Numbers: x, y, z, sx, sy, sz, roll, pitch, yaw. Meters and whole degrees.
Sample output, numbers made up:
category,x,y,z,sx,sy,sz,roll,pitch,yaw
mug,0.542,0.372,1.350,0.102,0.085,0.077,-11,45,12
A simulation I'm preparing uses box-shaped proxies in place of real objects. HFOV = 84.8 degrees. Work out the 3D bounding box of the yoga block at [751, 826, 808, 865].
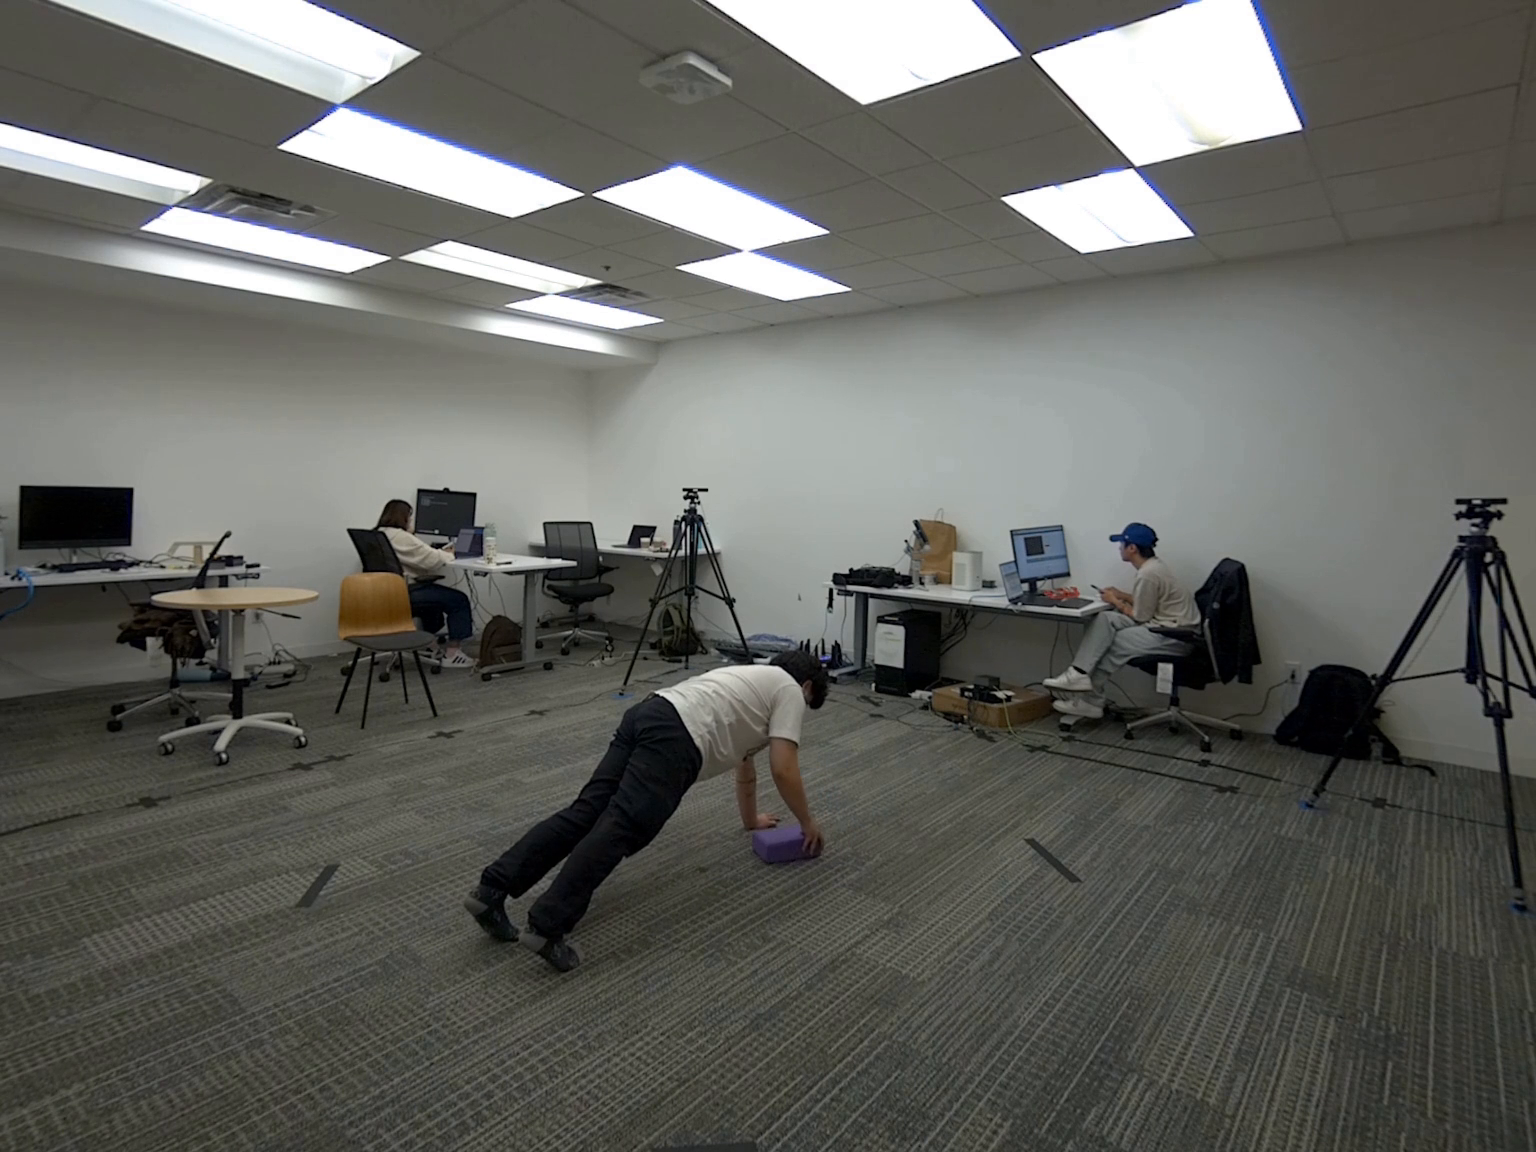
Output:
category,x,y,z,sx,sy,sz,roll,pitch,yaw
yoga block,0.061,1.020,3.264,0.224,0.076,0.153,0,5,-23
